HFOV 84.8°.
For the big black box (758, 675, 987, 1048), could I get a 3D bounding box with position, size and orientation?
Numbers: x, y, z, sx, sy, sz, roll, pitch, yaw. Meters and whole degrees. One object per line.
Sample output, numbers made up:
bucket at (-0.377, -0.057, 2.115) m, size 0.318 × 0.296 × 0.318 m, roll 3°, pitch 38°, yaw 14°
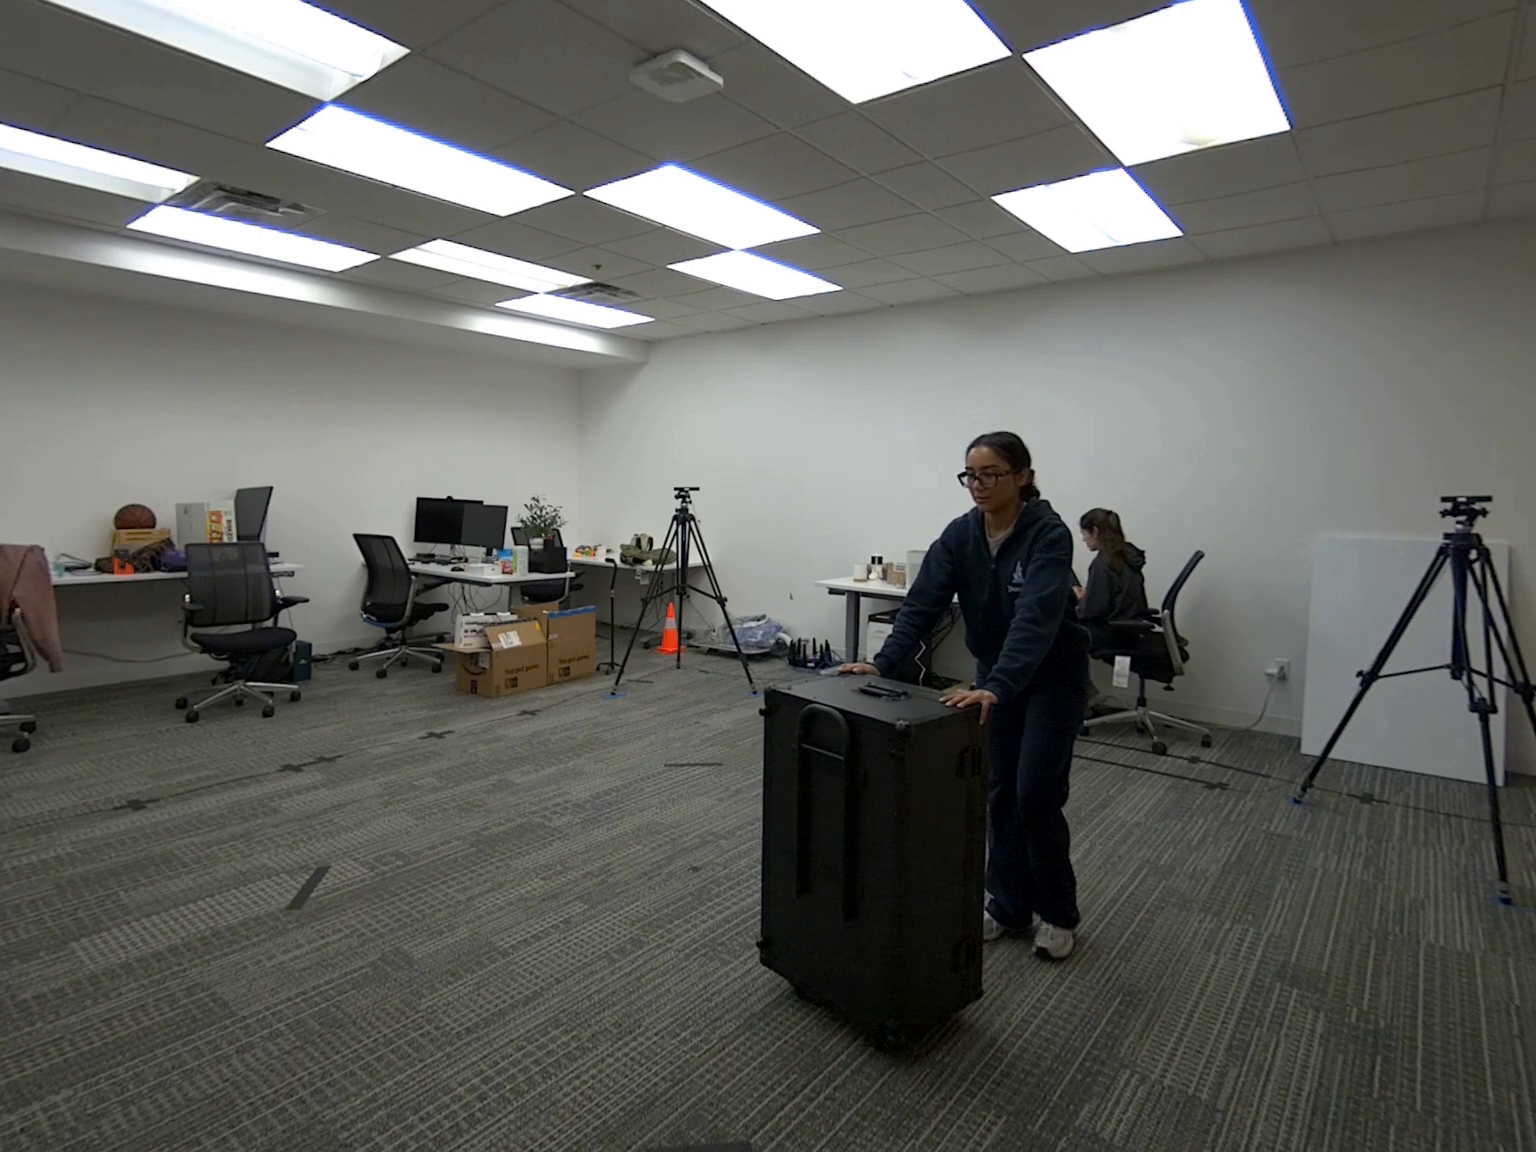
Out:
big black box at (0.267, 0.733, 2.268) m, size 0.384 × 0.859 × 0.539 m, roll -3°, pitch 5°, yaw -41°
